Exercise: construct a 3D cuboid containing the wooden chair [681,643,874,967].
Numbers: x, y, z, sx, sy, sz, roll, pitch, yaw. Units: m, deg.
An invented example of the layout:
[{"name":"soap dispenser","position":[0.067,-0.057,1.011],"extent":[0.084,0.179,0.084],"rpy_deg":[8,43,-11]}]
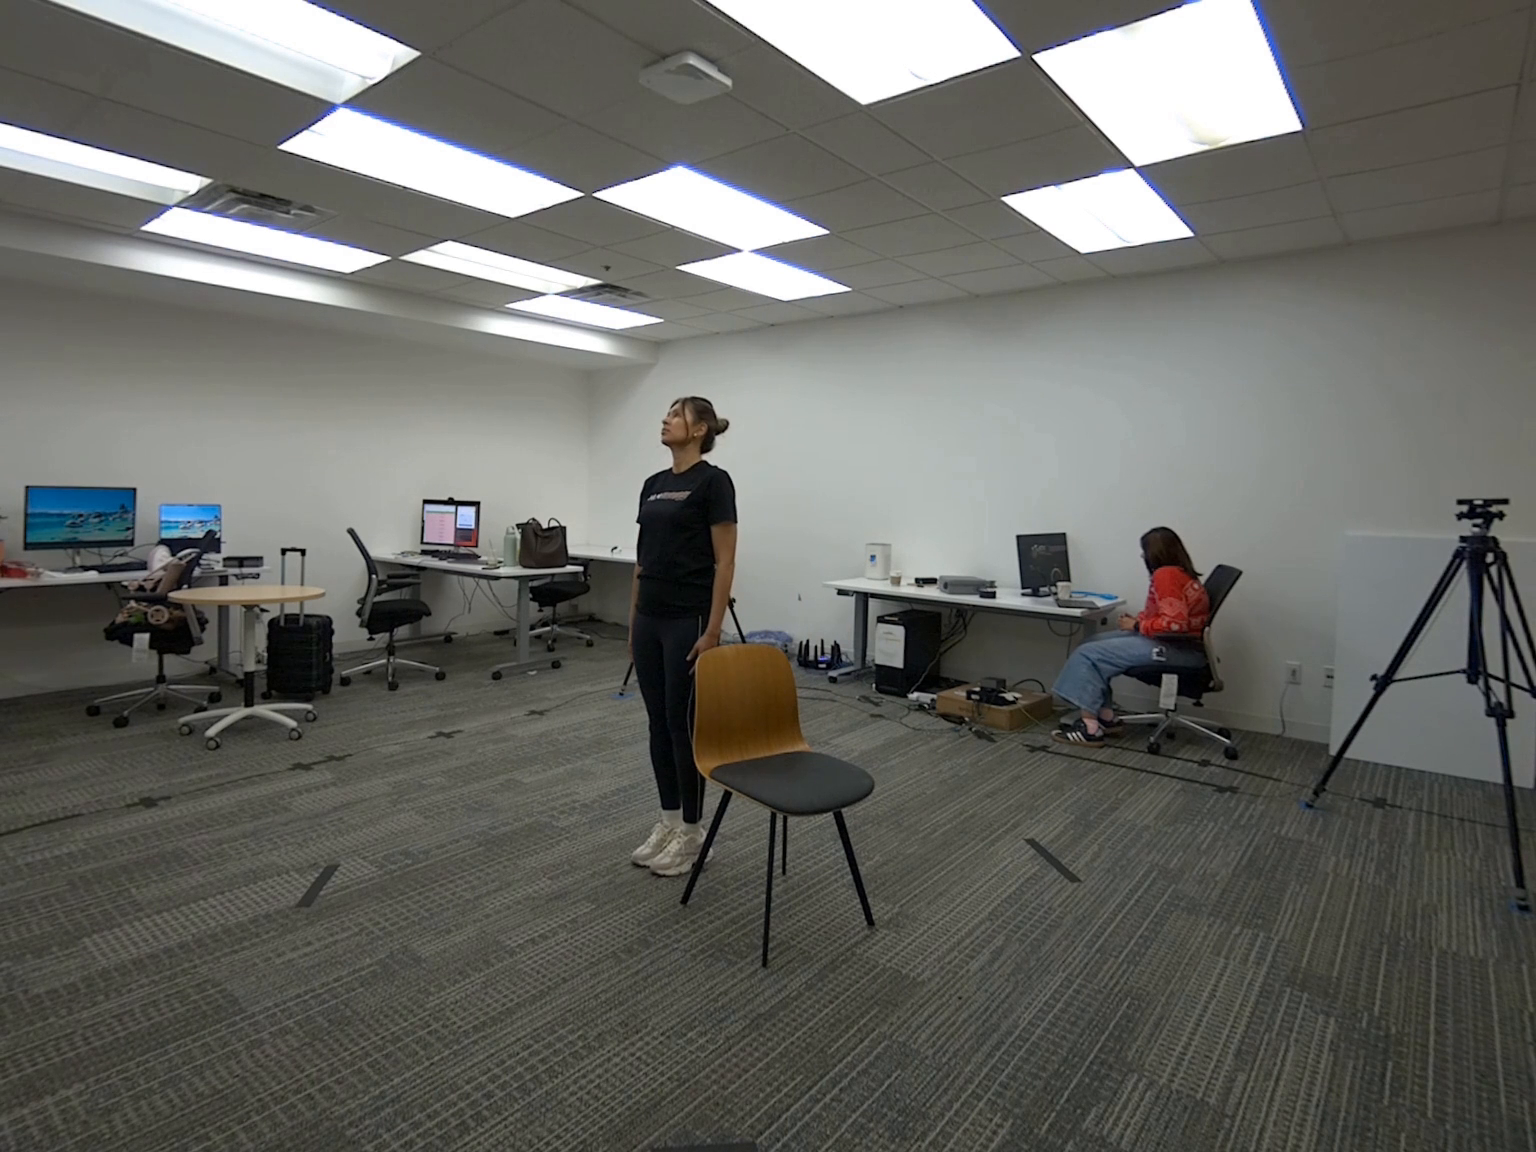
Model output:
[{"name":"wooden chair","position":[0.037,0.684,2.748],"extent":[0.464,0.878,0.539],"rpy_deg":[-1,0,-37]}]
